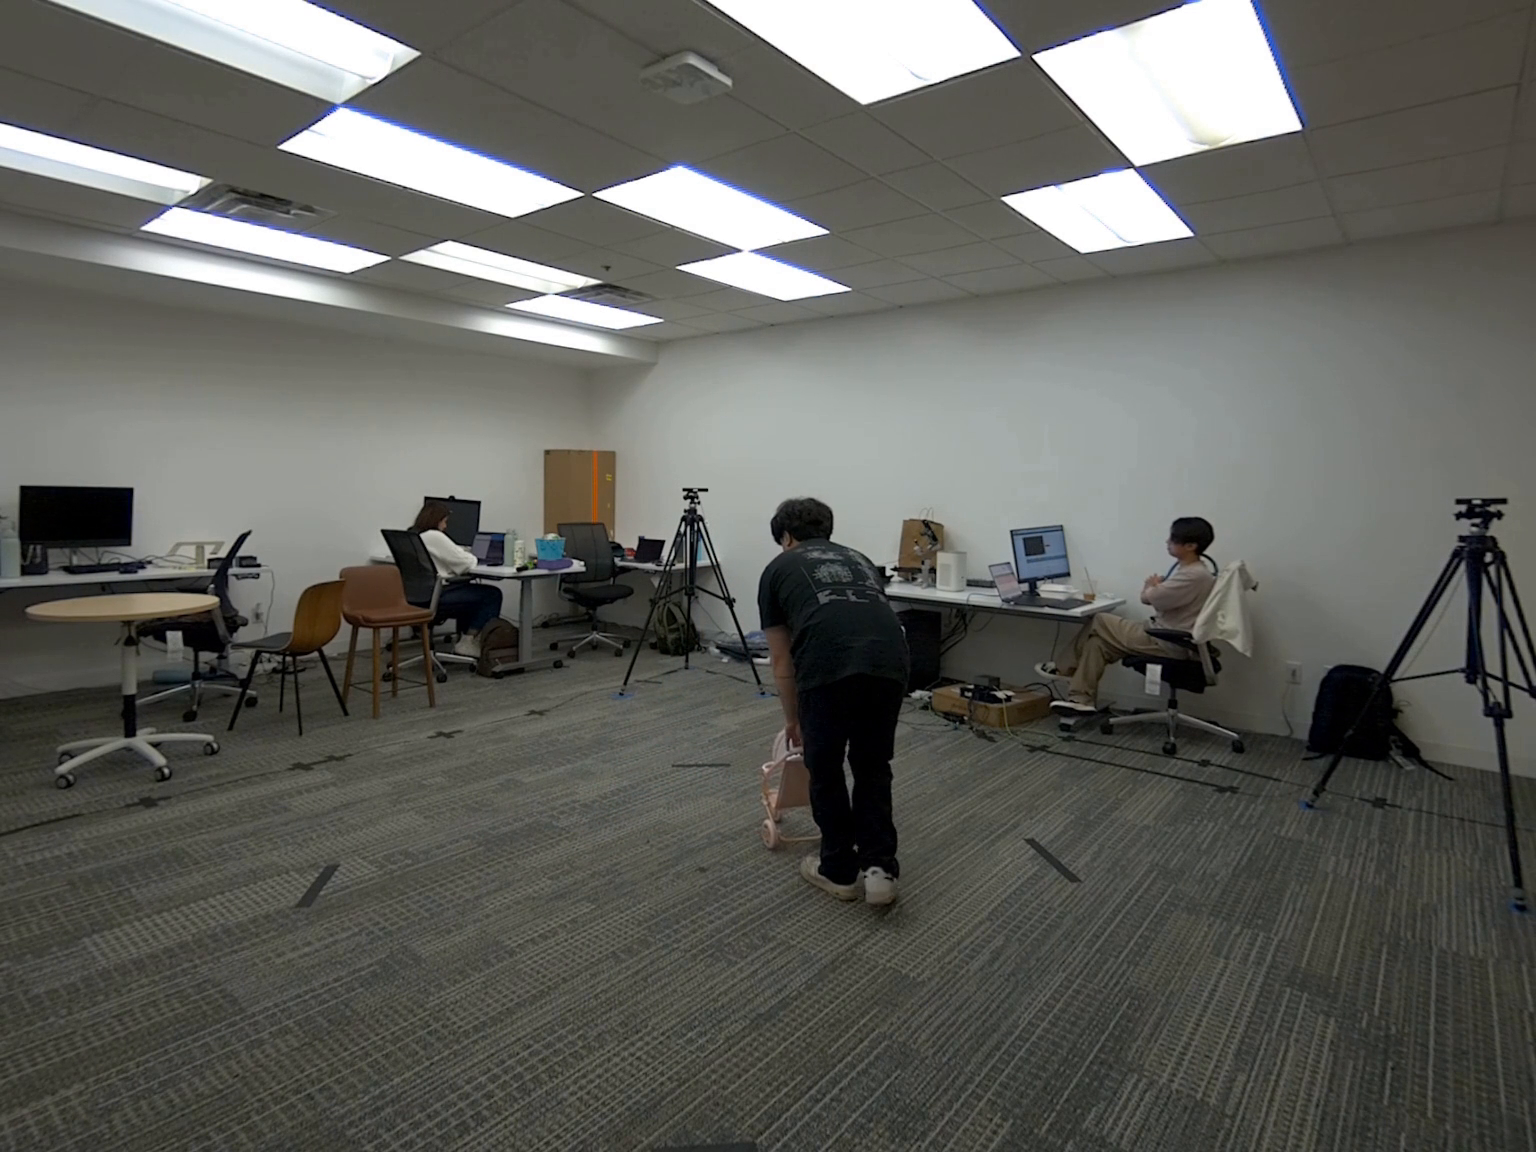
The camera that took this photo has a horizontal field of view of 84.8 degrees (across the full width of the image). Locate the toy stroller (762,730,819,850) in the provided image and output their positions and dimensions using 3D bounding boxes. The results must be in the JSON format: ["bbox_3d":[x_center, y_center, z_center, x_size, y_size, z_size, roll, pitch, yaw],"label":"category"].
[{"bbox_3d":[0.098,0.822,3.398,0.277,0.527,0.352,1,19,-15],"label":"toy stroller"}]
